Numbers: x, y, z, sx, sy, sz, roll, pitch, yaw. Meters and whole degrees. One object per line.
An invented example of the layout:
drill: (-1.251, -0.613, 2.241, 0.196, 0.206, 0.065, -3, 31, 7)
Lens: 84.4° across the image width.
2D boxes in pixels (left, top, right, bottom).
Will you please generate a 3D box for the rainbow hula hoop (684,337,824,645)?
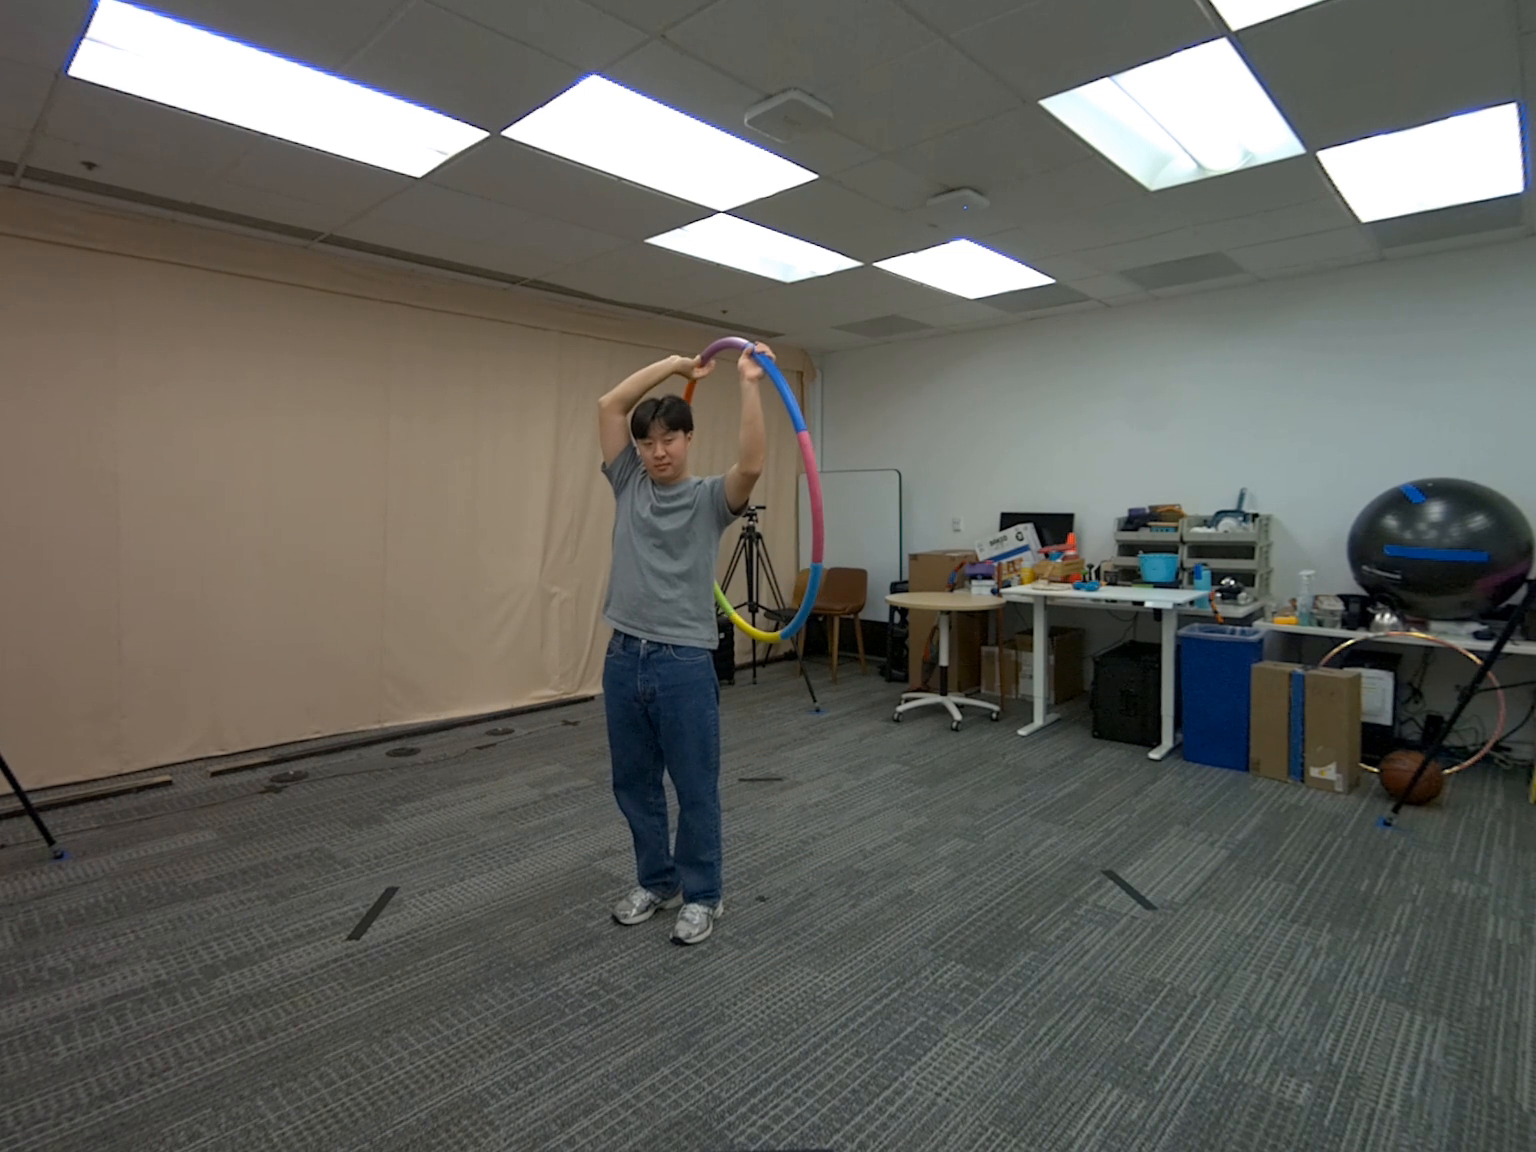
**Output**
rainbow hula hoop: (-0.088, -0.264, 2.733, 0.035, 0.973, 1.005, -10, 8, -27)
